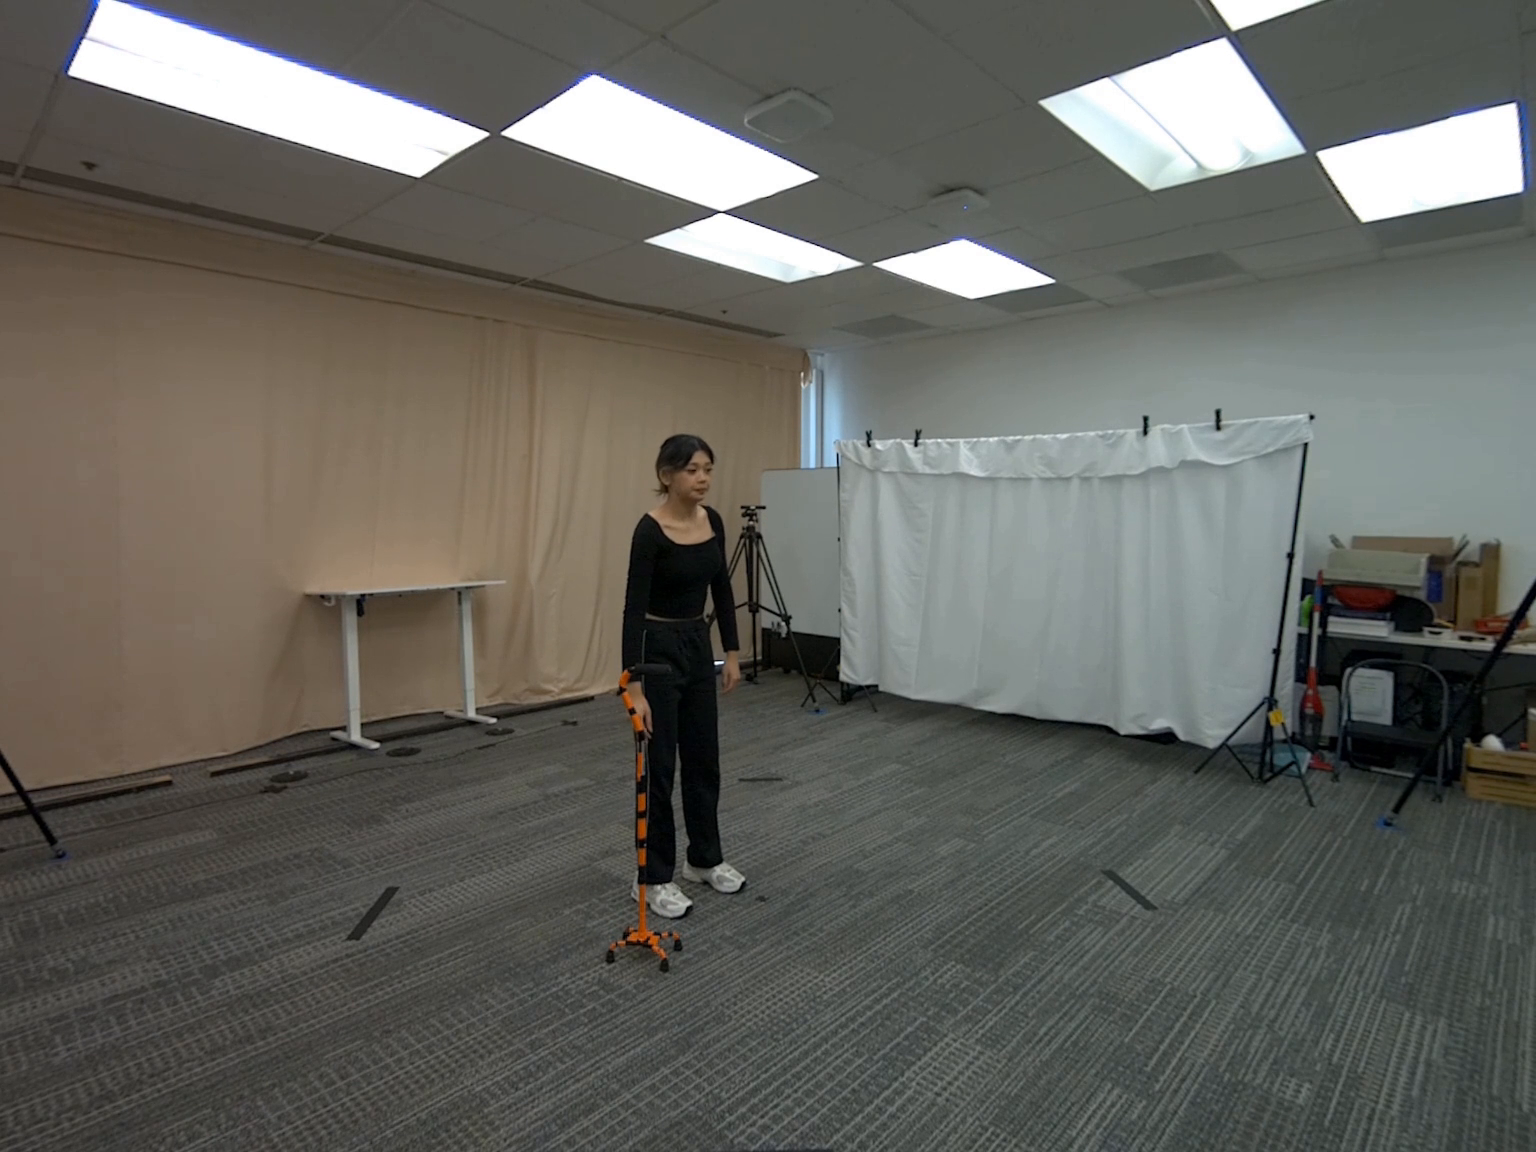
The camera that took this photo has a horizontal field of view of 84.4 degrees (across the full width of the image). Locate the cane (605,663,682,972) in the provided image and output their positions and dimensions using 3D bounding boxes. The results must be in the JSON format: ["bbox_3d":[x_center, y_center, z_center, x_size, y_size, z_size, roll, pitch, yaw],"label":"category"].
[{"bbox_3d":[-0.385,0.724,2.594,0.210,0.907,0.149,1,2,15],"label":"cane"}]
